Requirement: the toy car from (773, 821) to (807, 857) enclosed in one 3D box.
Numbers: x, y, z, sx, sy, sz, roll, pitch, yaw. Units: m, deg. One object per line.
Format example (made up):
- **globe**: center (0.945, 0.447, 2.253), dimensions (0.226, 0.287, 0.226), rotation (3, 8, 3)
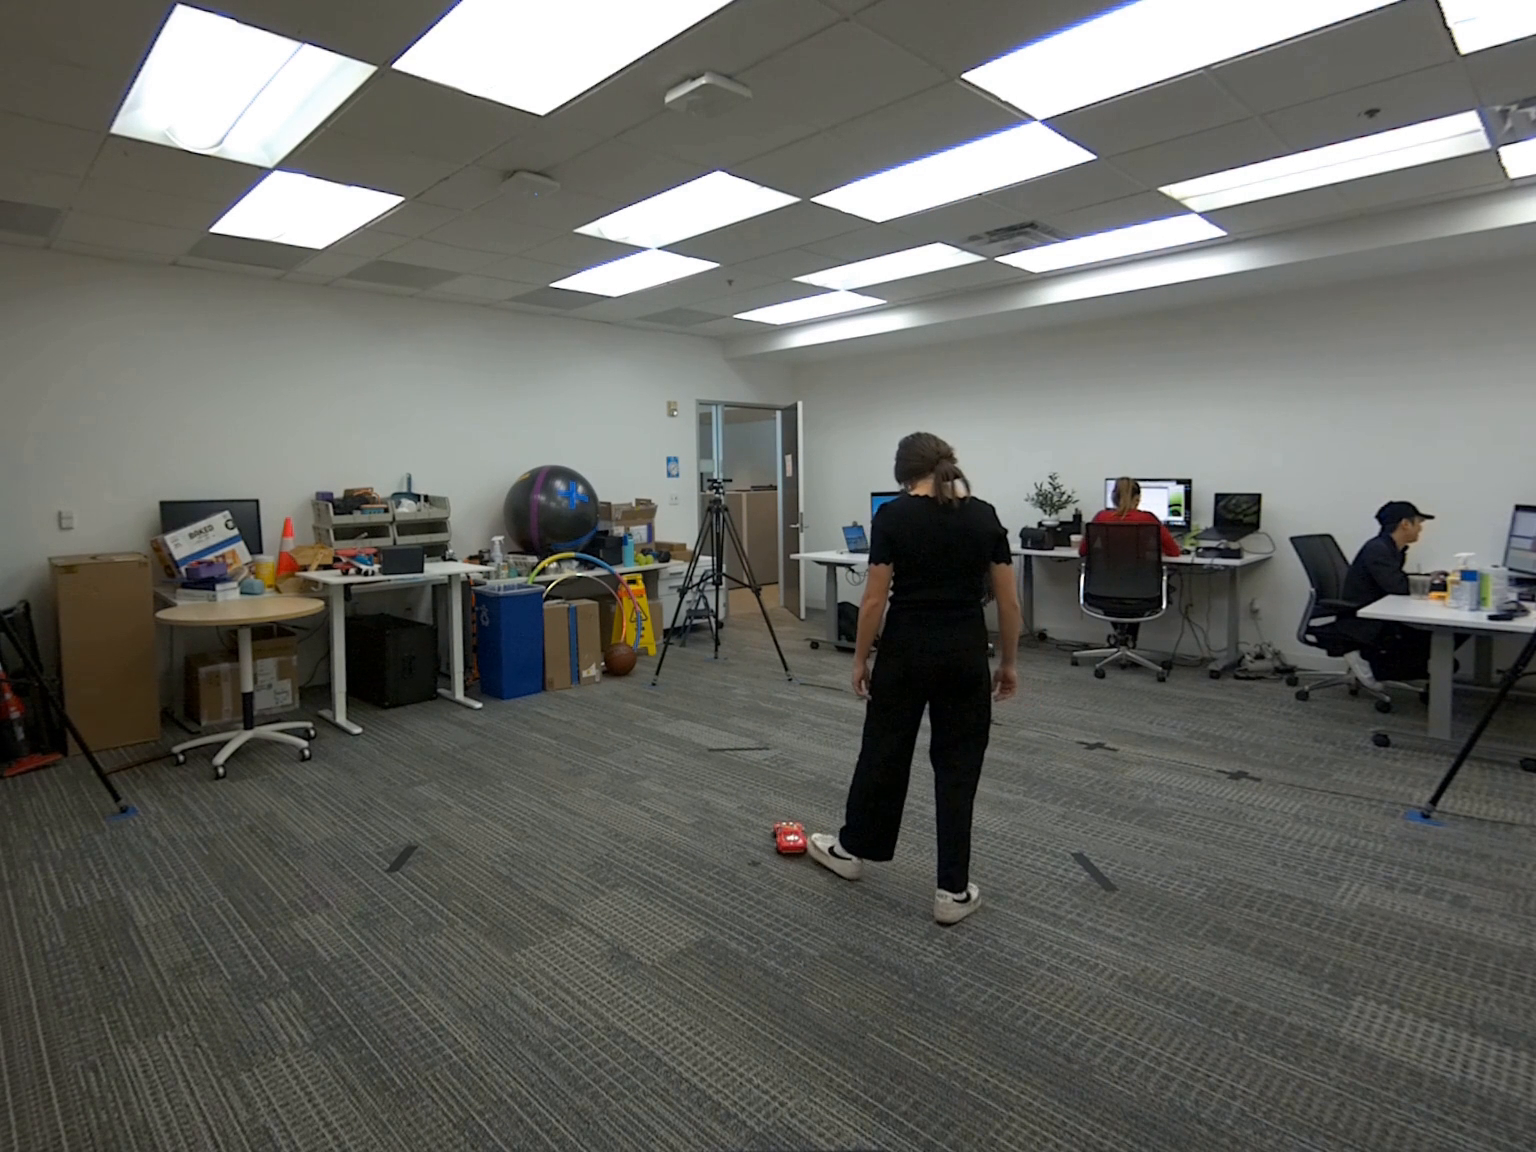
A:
- **toy car**: center (0.096, 0.995, 3.242), dimensions (0.130, 0.084, 0.253), rotation (-2, -5, -4)
